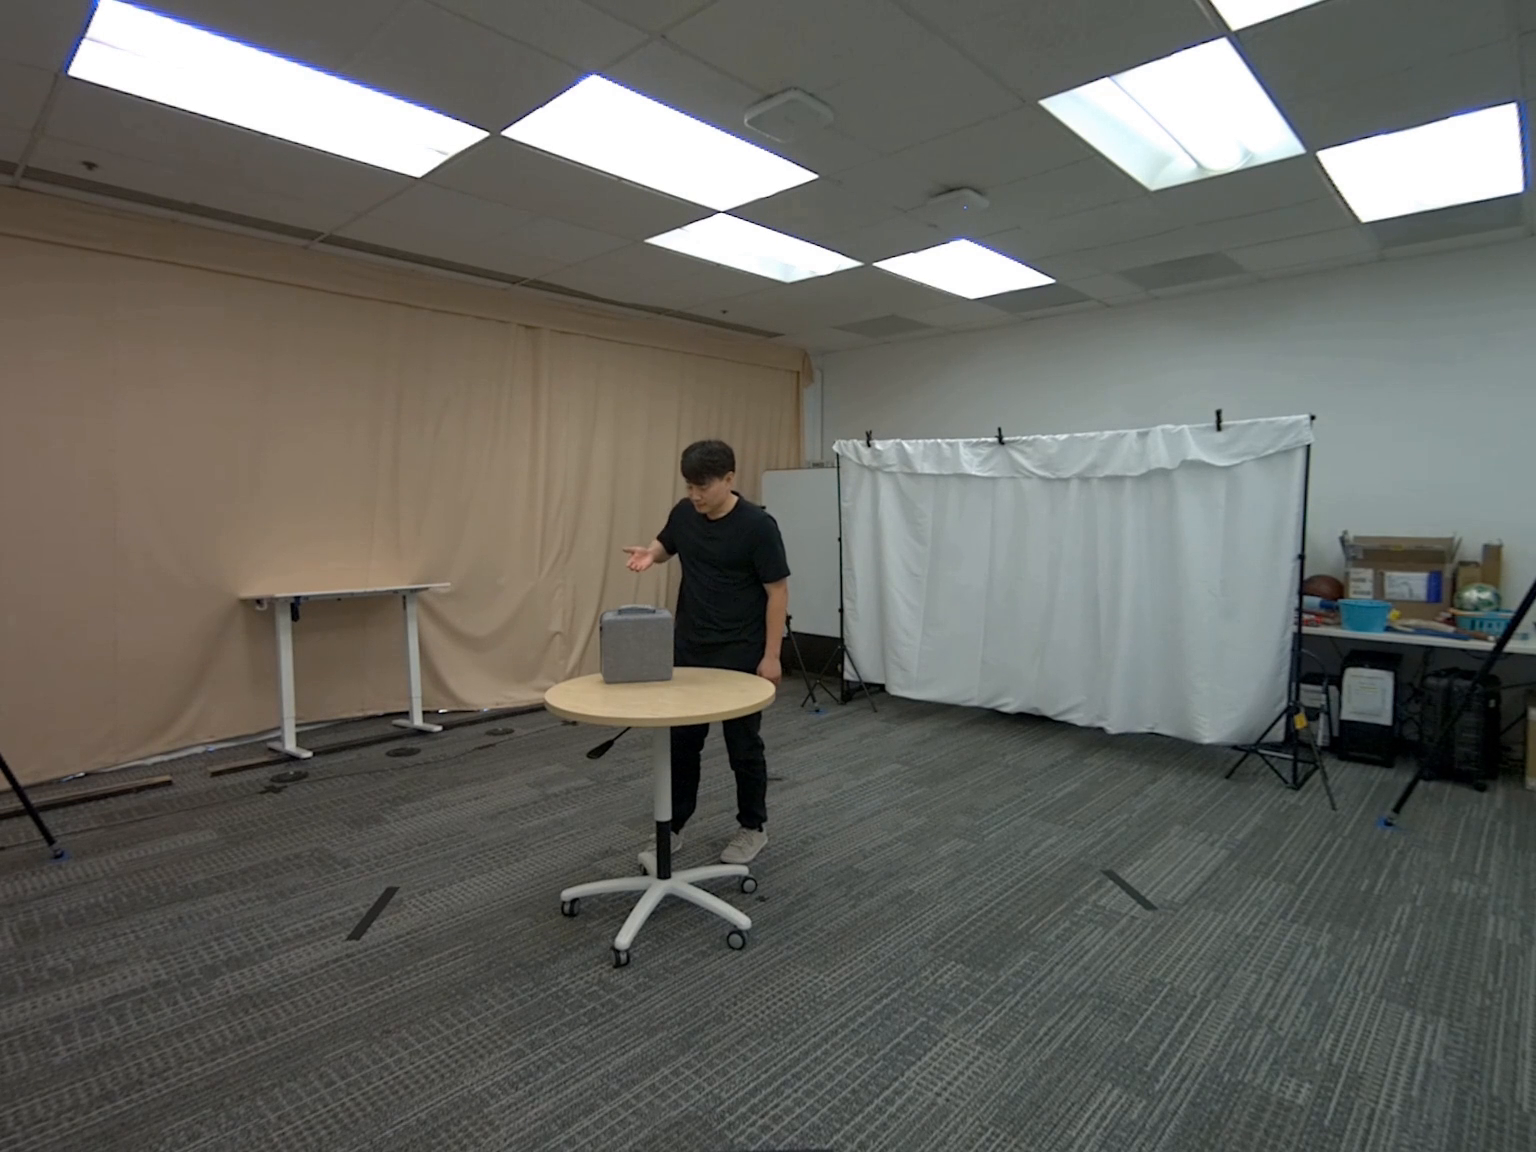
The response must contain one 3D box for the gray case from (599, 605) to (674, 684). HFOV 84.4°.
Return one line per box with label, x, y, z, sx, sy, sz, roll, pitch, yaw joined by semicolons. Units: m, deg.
gray case;-0.459;0.238;2.944;0.255;0.259;0.106;-1;12;-6
